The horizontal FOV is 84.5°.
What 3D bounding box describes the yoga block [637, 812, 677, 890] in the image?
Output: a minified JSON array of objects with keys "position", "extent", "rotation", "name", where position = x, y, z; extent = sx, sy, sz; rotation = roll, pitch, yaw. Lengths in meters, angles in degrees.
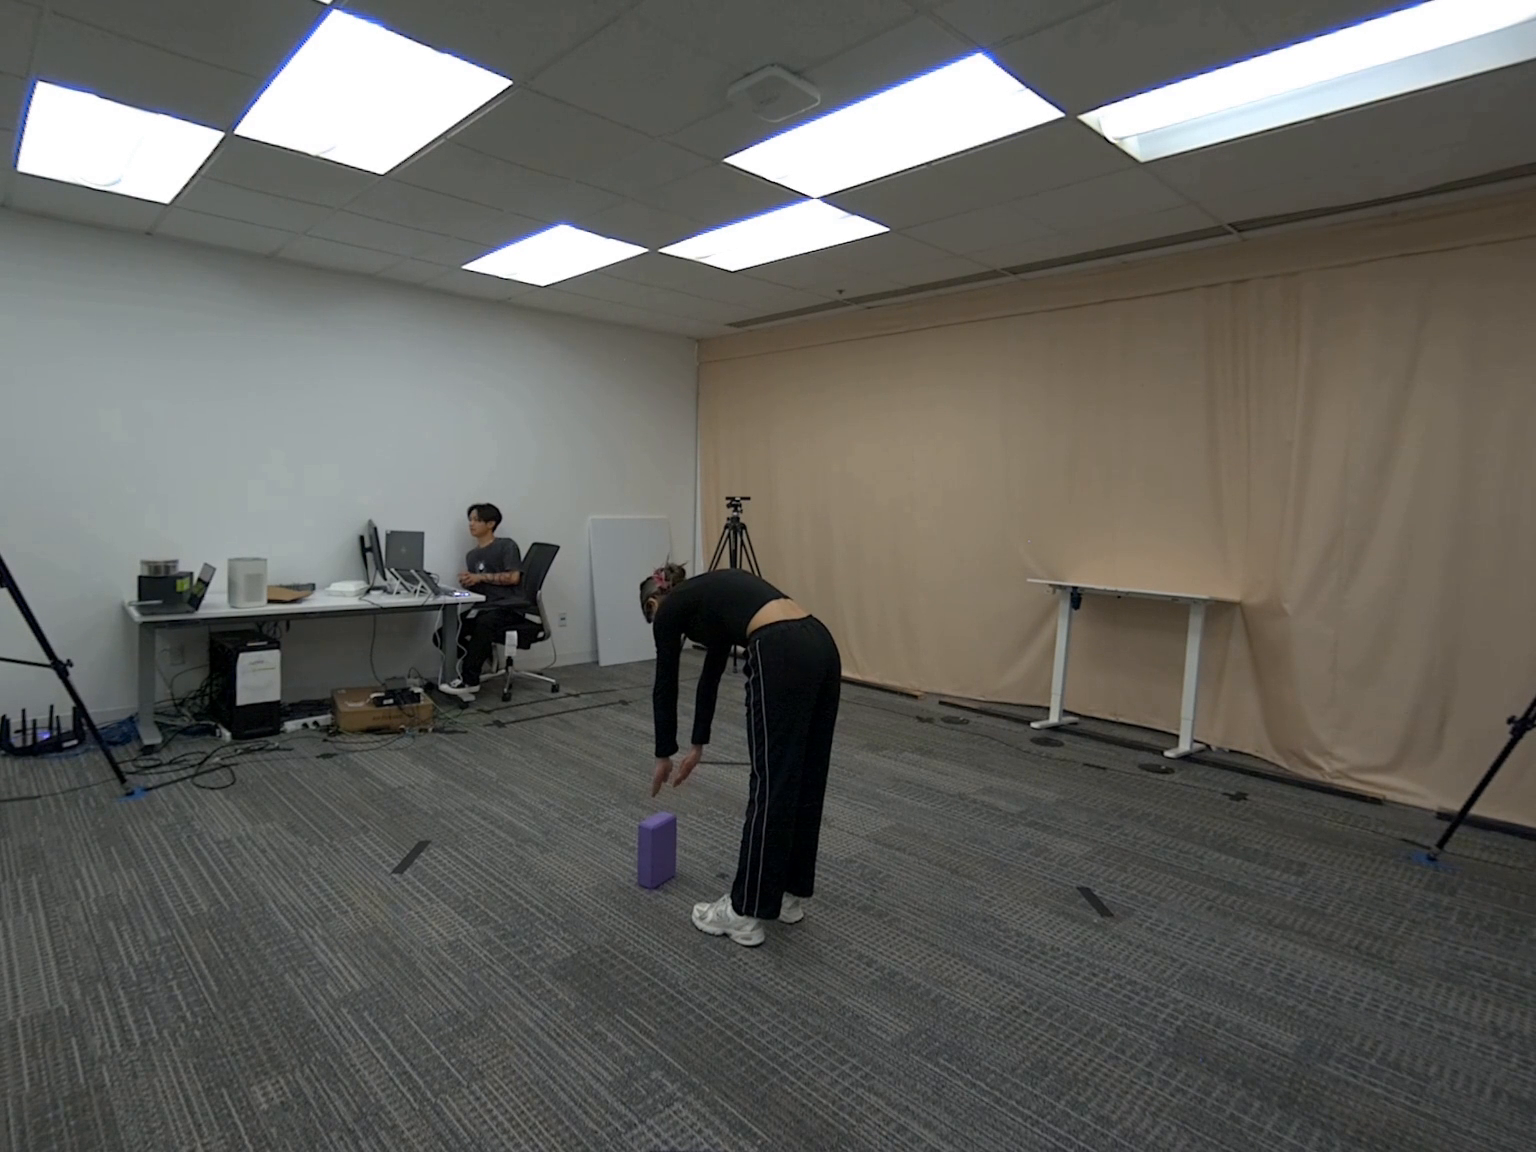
[{"position":[-0.408,0.991,3.044],"extent":[0.078,0.229,0.146],"rotation":[3,5,29],"name":"yoga block"}]
